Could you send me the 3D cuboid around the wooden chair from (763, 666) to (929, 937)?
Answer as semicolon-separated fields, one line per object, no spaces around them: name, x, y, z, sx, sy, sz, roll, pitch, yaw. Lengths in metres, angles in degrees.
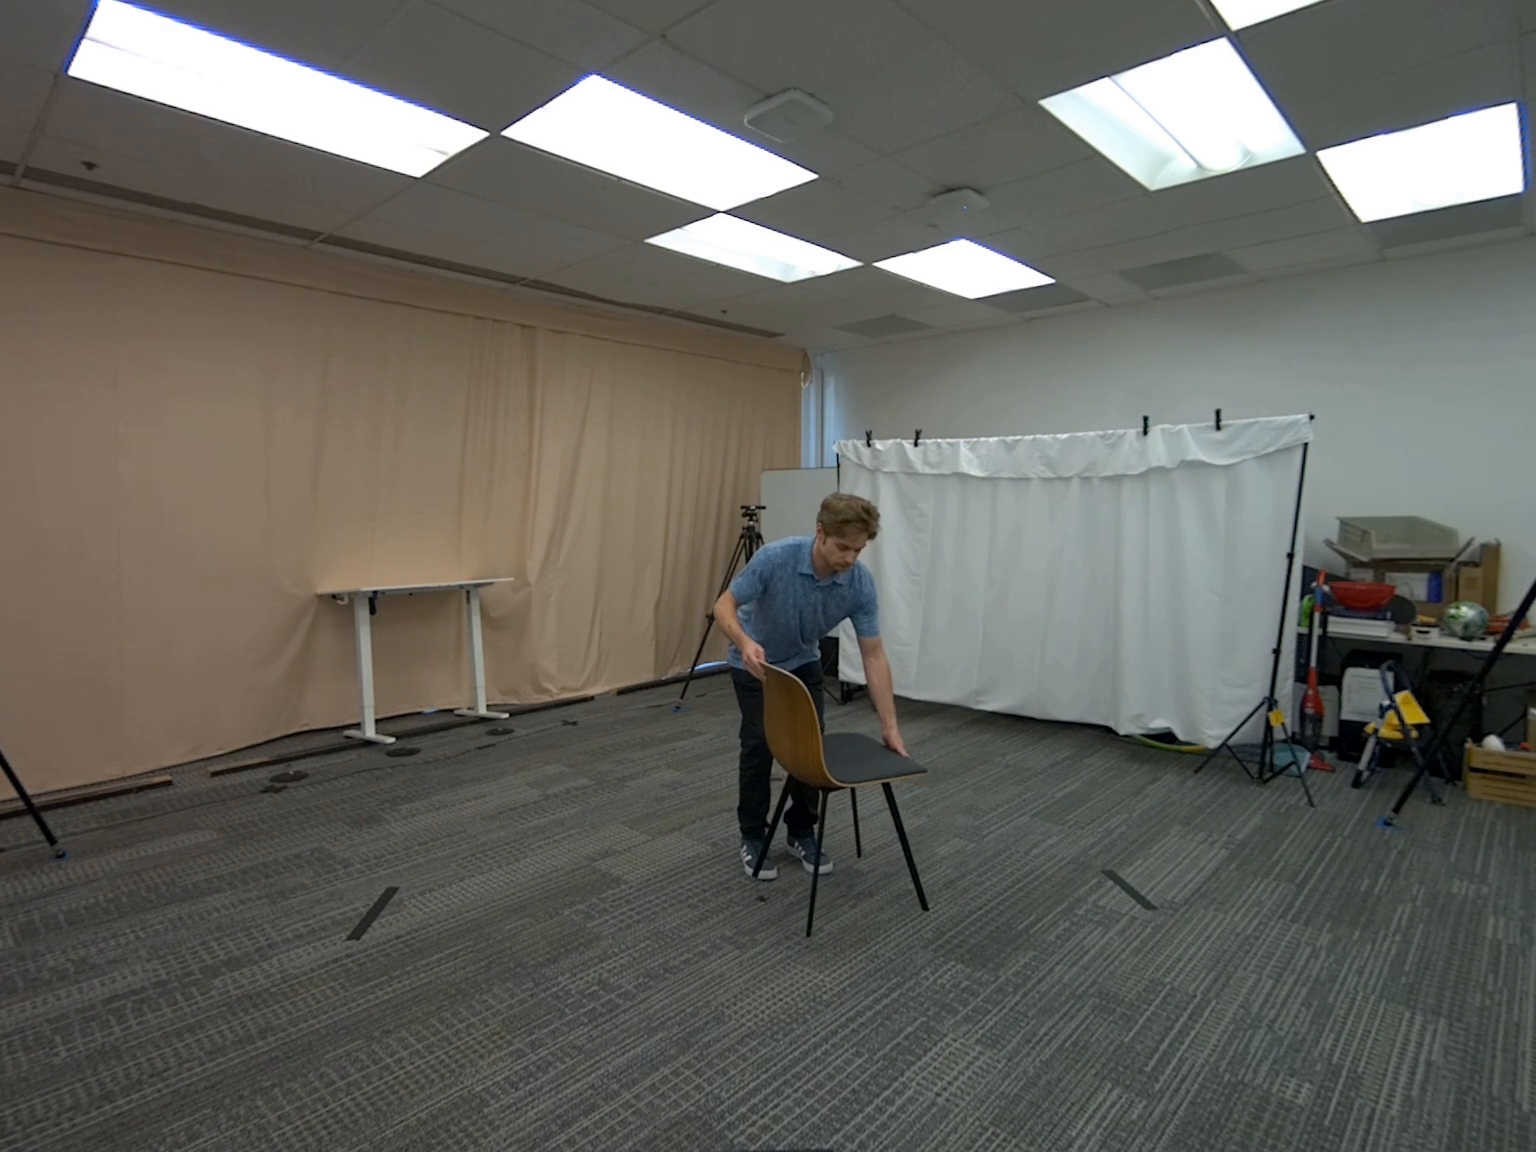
wooden chair;0.250;0.678;2.904;0.512;0.874;0.490;-6;6;-22
